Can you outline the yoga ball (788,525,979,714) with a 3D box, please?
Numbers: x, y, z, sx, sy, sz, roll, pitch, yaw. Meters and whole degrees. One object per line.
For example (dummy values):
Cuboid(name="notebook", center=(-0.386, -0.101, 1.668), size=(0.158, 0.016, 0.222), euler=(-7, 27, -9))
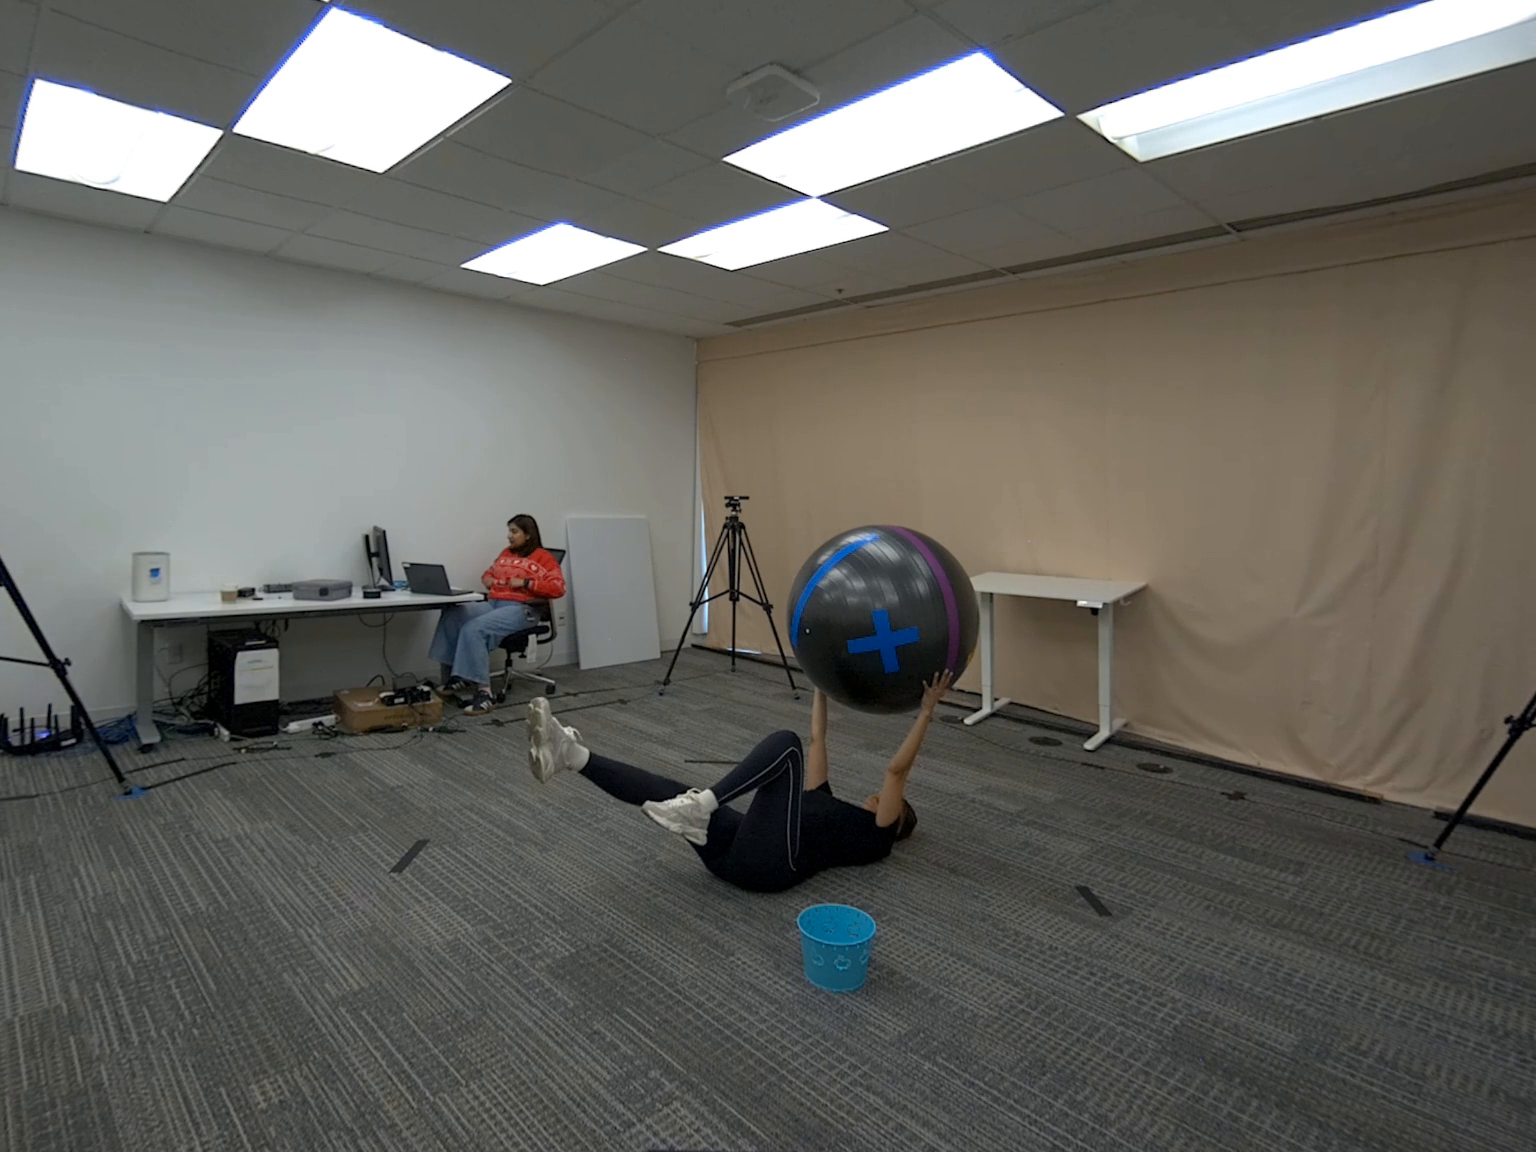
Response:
Cuboid(name="yoga ball", center=(0.451, 0.175, 3.374), size=(0.757, 0.754, 0.762), euler=(0, 7, -1))
